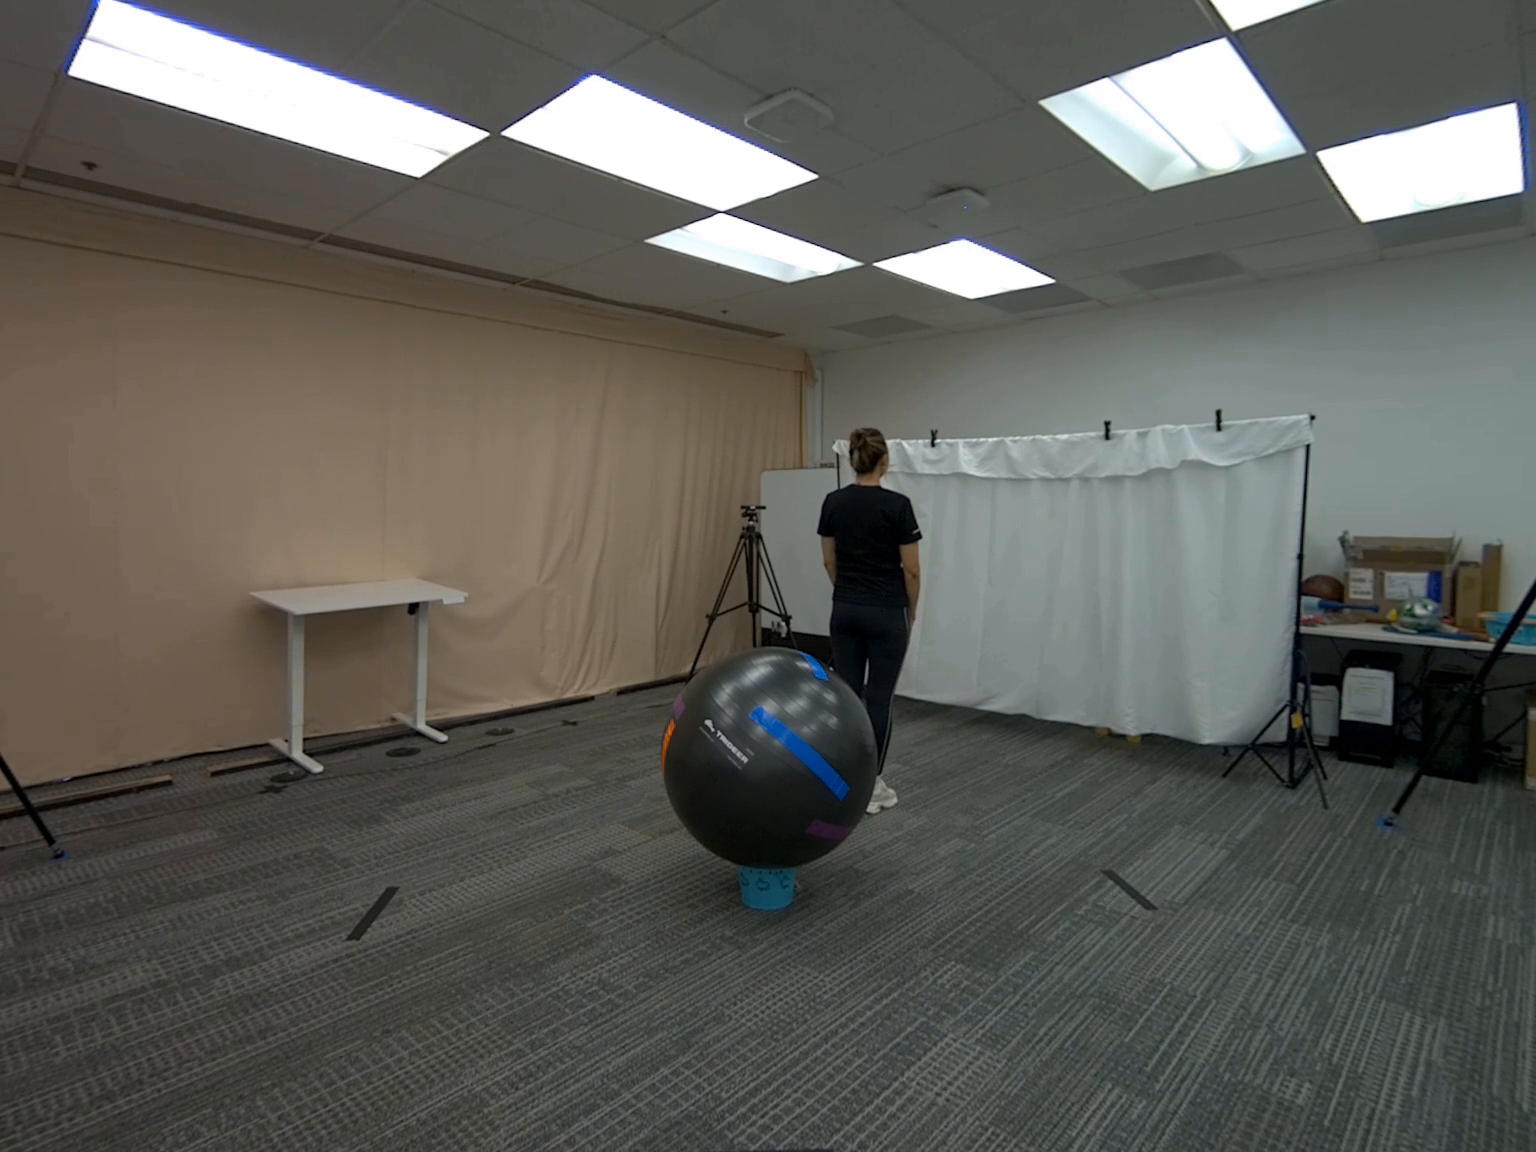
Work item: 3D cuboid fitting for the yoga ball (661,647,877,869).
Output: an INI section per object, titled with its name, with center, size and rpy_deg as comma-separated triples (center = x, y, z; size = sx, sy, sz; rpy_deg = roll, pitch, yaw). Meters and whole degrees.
[yoga ball]
center = 0.006, 0.635, 2.966
size = 0.757, 0.756, 0.760
rpy_deg = 0, 4, -2
